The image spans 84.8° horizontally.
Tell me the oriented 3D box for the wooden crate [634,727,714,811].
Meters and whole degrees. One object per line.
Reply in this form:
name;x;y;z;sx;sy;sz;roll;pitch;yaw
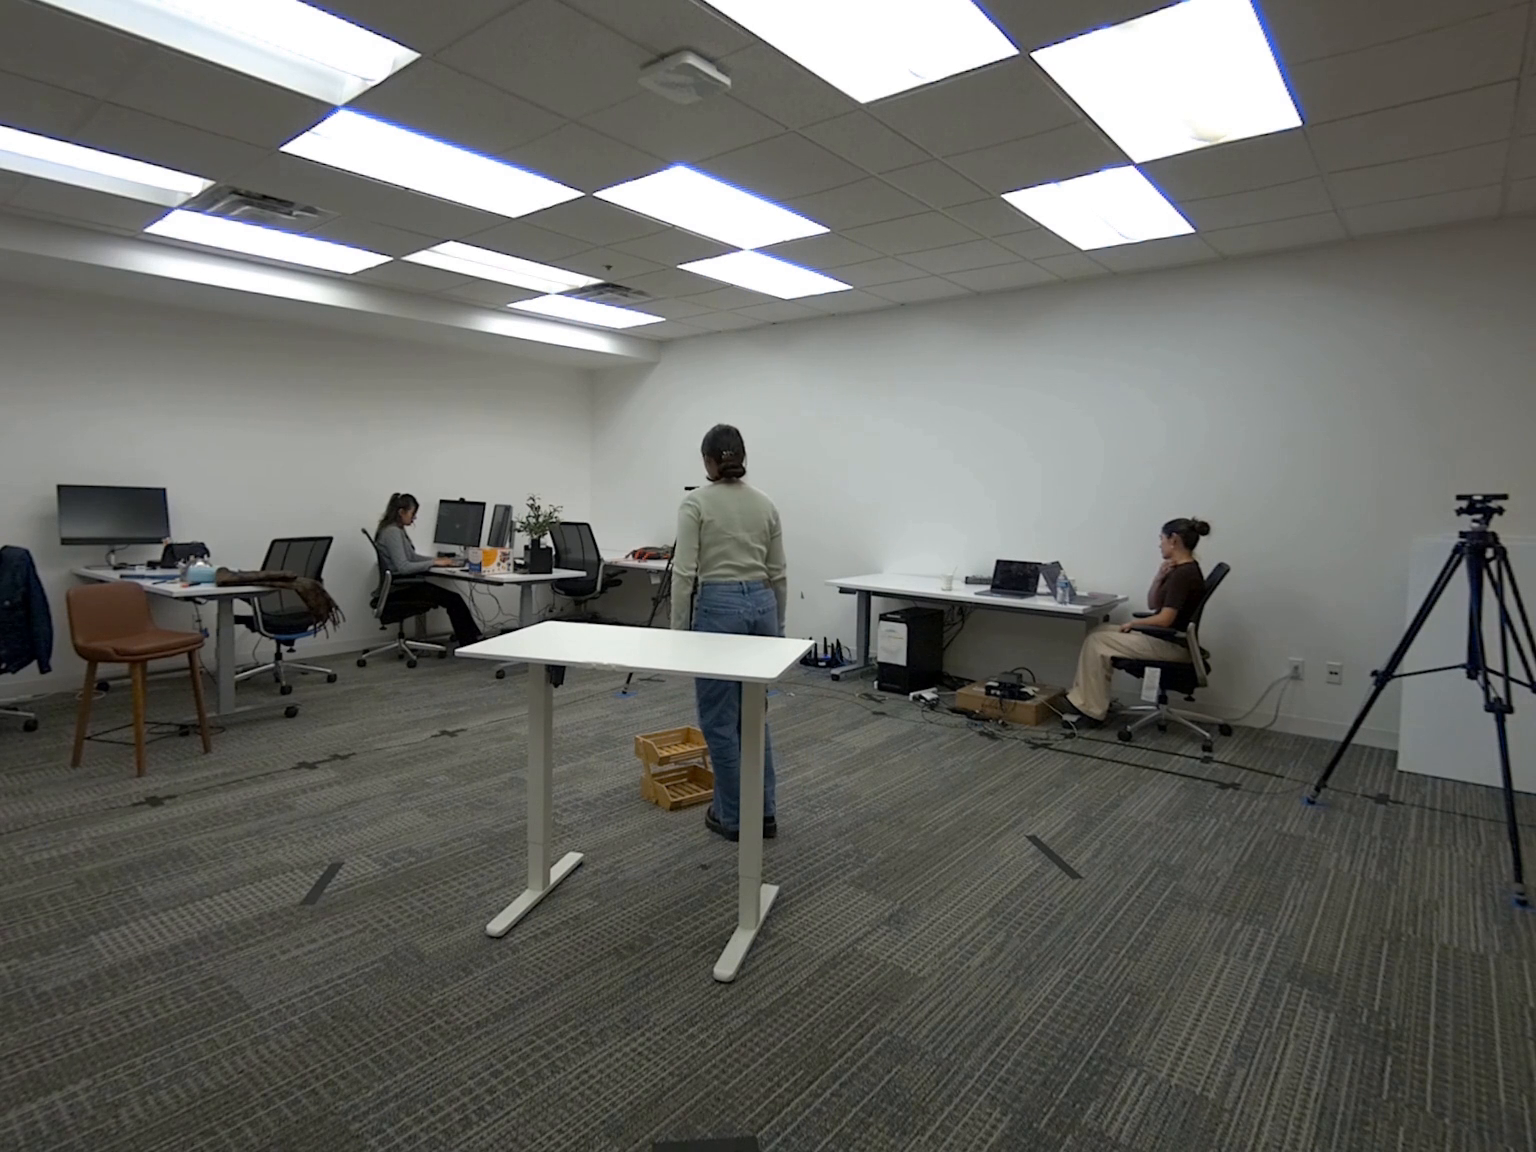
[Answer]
wooden crate;-0.410;0.855;3.851;0.315;0.272;0.312;-3;5;-39
